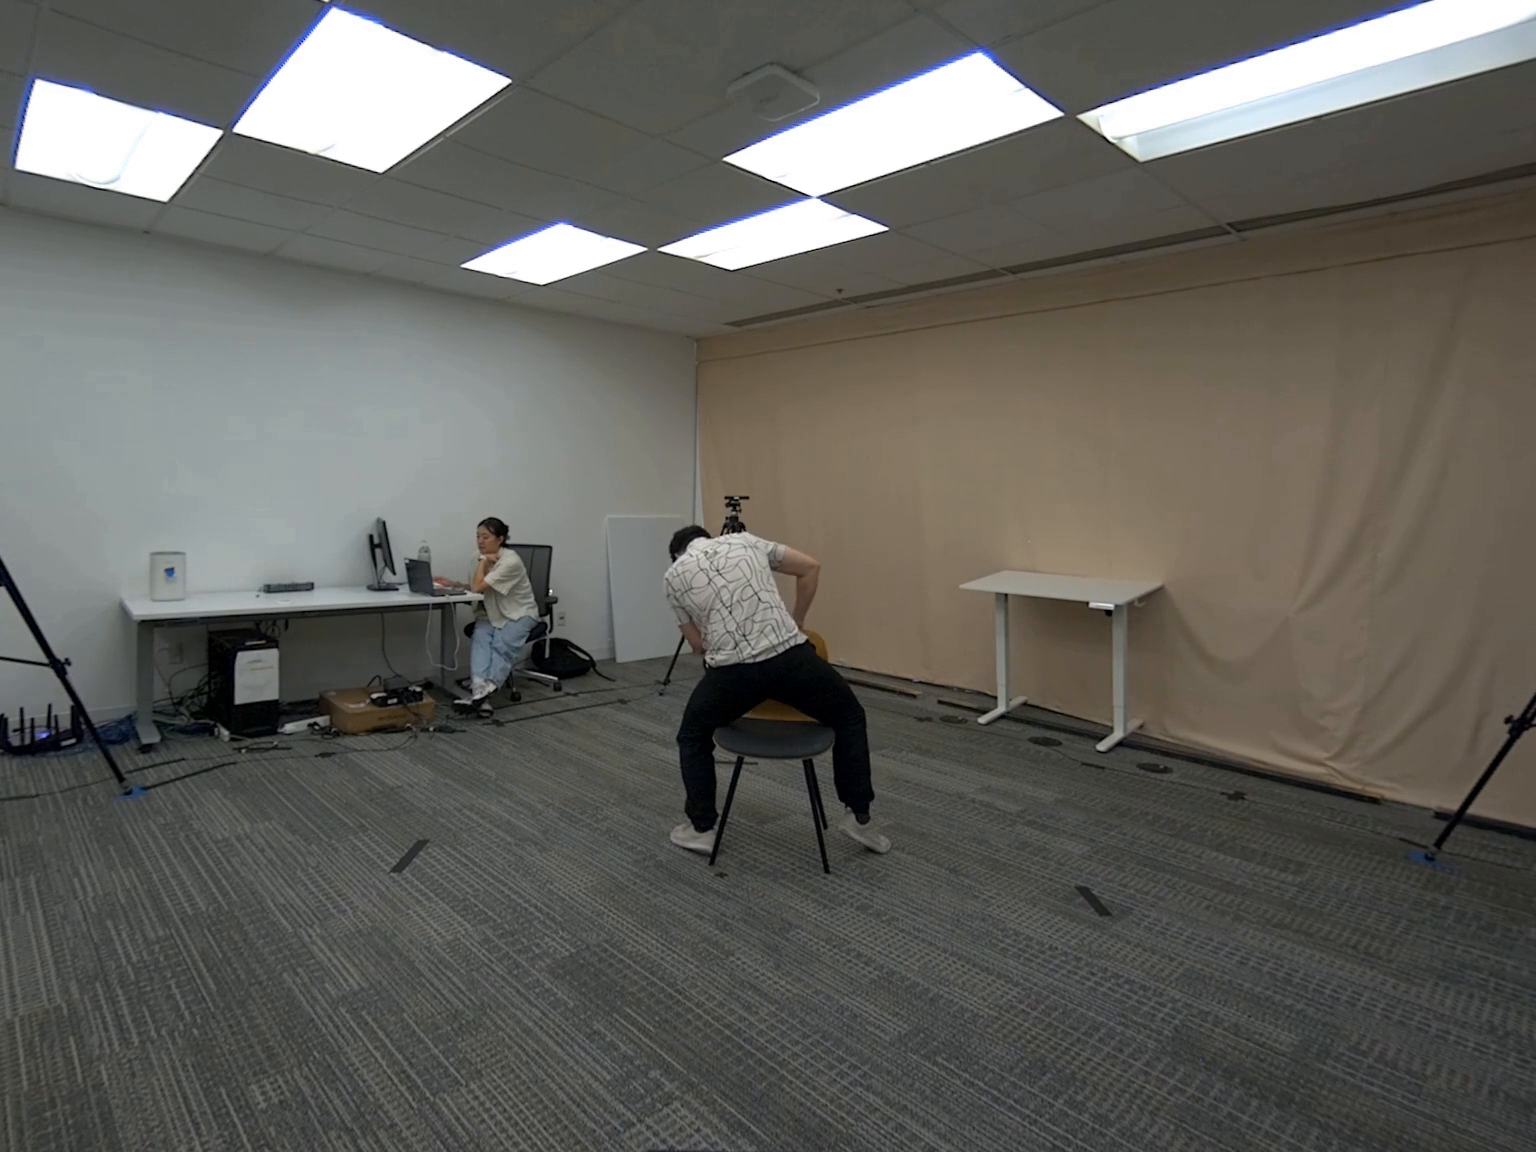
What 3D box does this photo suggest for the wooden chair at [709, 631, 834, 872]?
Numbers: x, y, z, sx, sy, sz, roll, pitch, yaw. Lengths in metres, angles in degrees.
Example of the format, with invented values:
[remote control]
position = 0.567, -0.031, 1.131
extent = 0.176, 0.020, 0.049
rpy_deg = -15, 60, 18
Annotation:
[wooden chair]
position = 0.027, 0.663, 3.336
extent = 0.480, 0.878, 0.520
rpy_deg = 2, -2, 4
